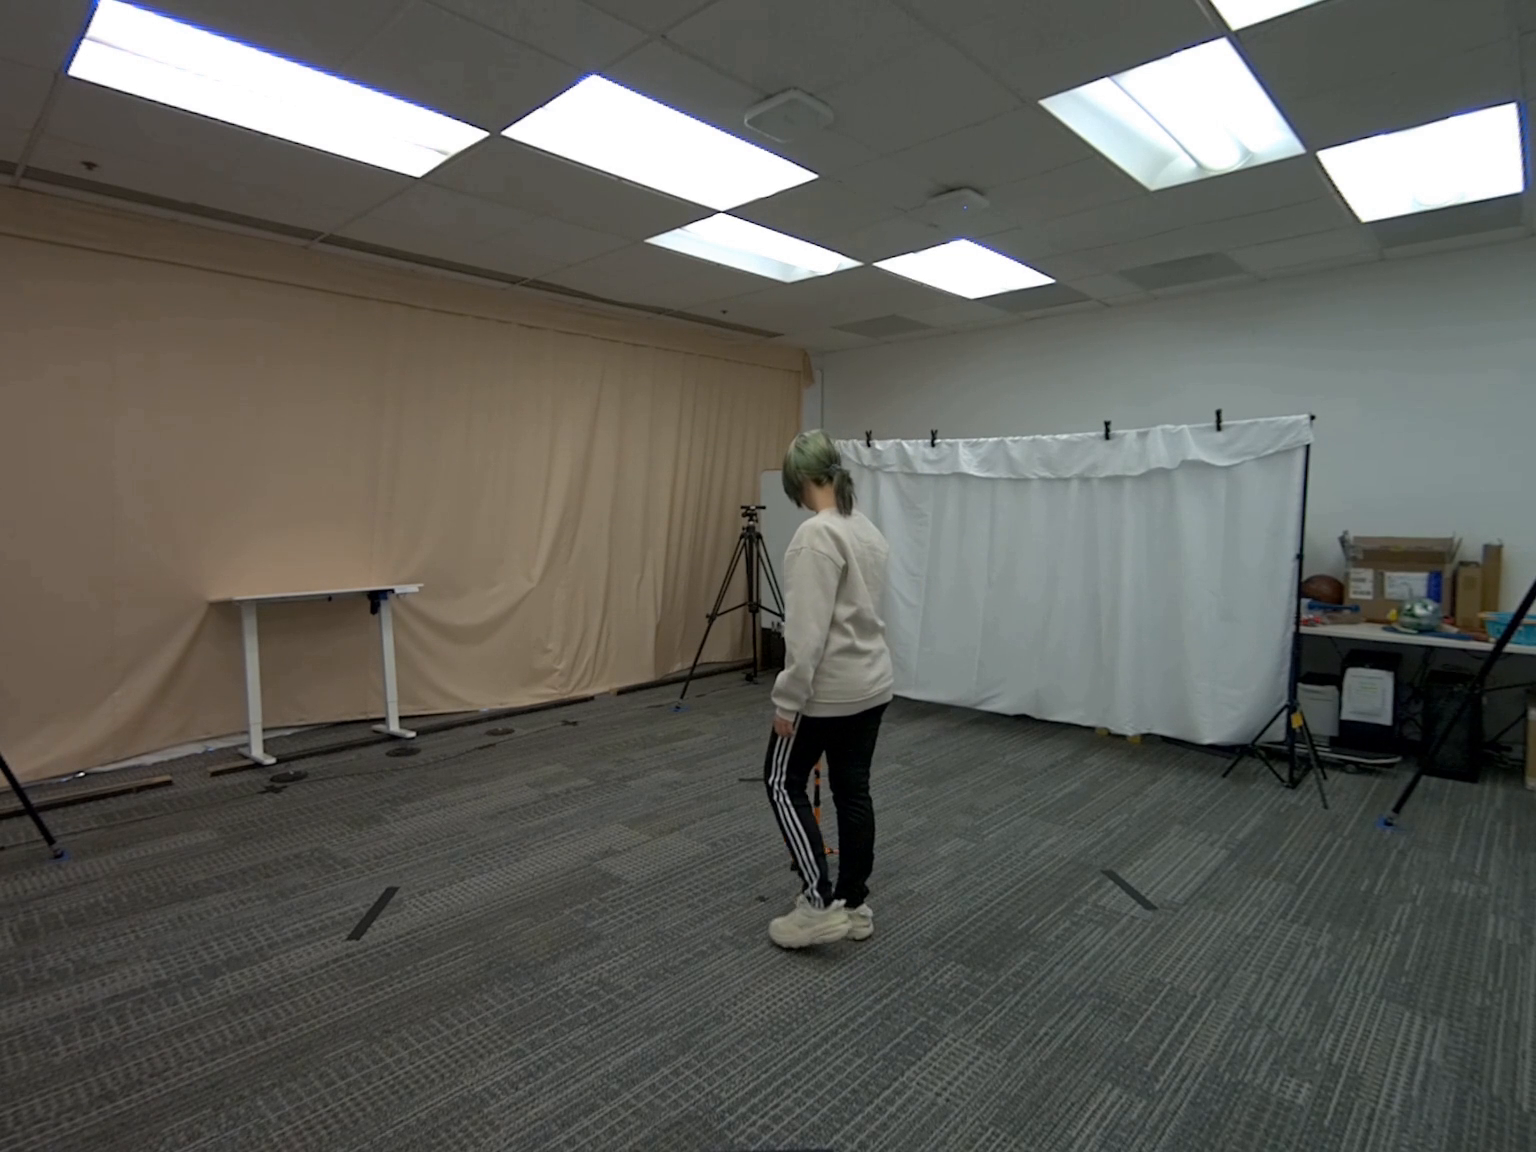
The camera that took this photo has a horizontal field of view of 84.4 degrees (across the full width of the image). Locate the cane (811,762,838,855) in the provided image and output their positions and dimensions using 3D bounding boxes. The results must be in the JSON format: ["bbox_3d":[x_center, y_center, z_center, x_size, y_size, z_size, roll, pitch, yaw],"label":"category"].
[{"bbox_3d":[0.201,0.670,3.217,0.200,0.906,0.156,-3,3,-44],"label":"cane"}]
